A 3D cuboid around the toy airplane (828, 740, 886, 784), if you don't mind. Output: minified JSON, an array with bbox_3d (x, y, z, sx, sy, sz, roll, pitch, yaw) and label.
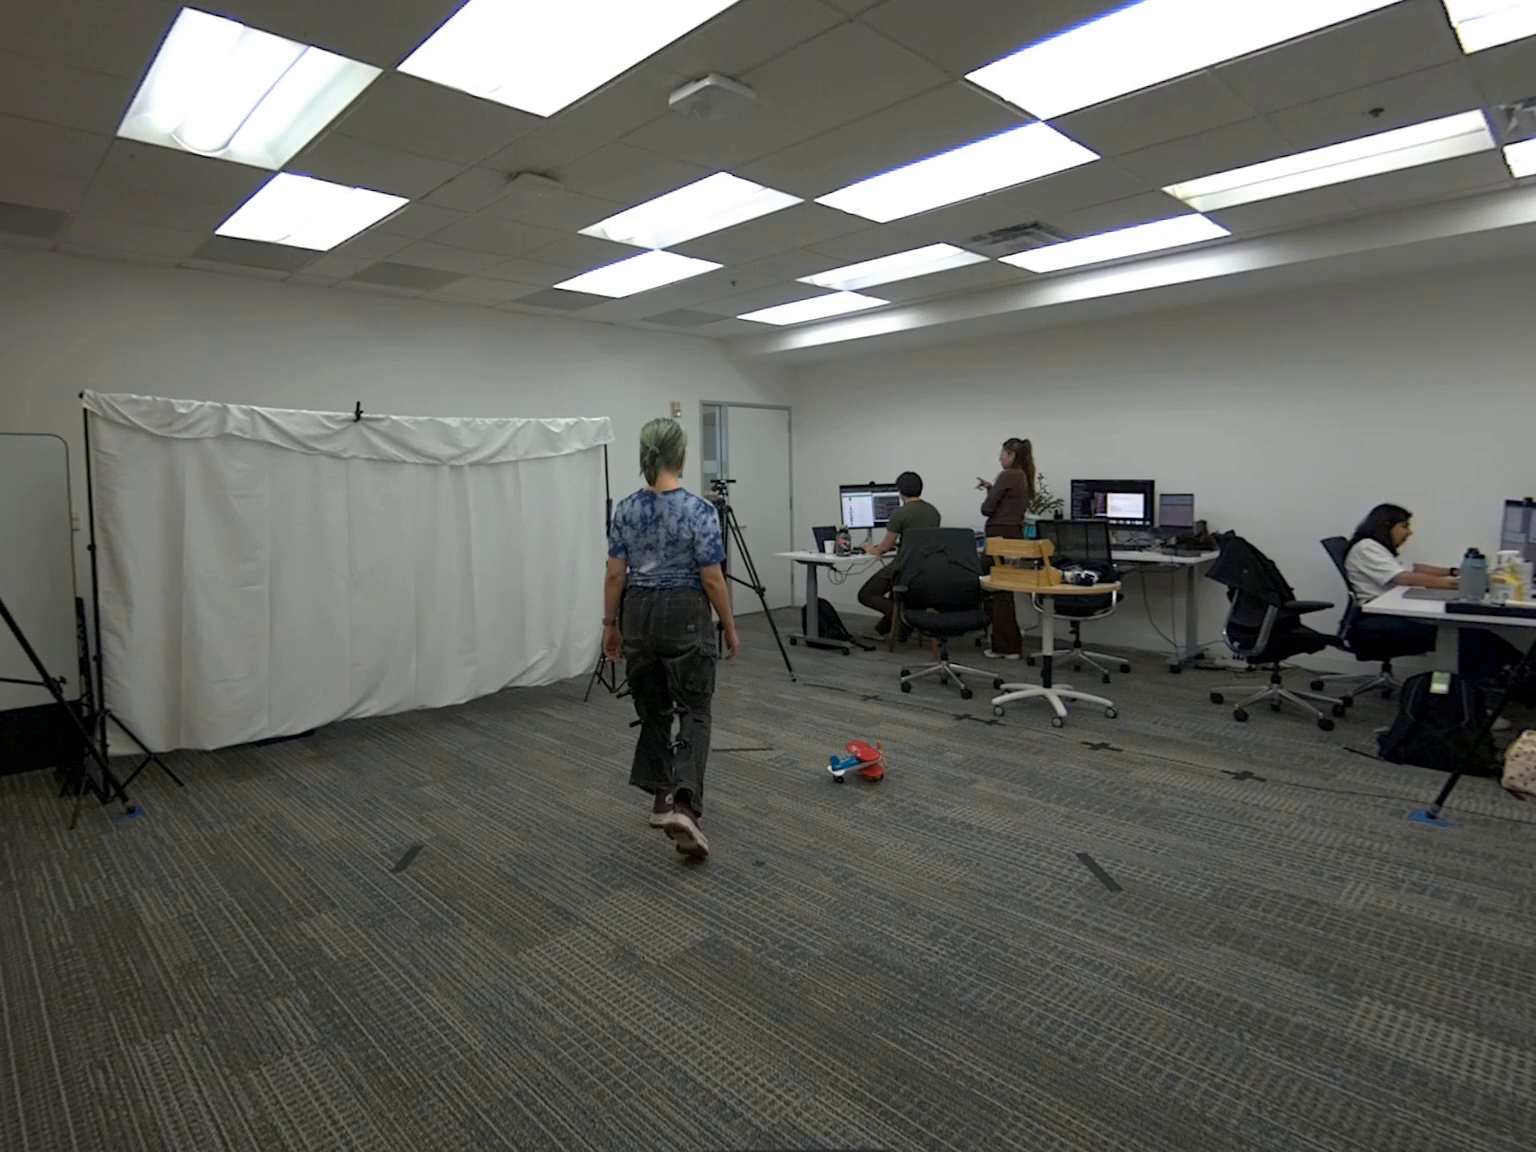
[{"bbox_3d":[0.419,0.875,3.945,0.259,0.156,0.252,5,7,44],"label":"toy airplane"}]
